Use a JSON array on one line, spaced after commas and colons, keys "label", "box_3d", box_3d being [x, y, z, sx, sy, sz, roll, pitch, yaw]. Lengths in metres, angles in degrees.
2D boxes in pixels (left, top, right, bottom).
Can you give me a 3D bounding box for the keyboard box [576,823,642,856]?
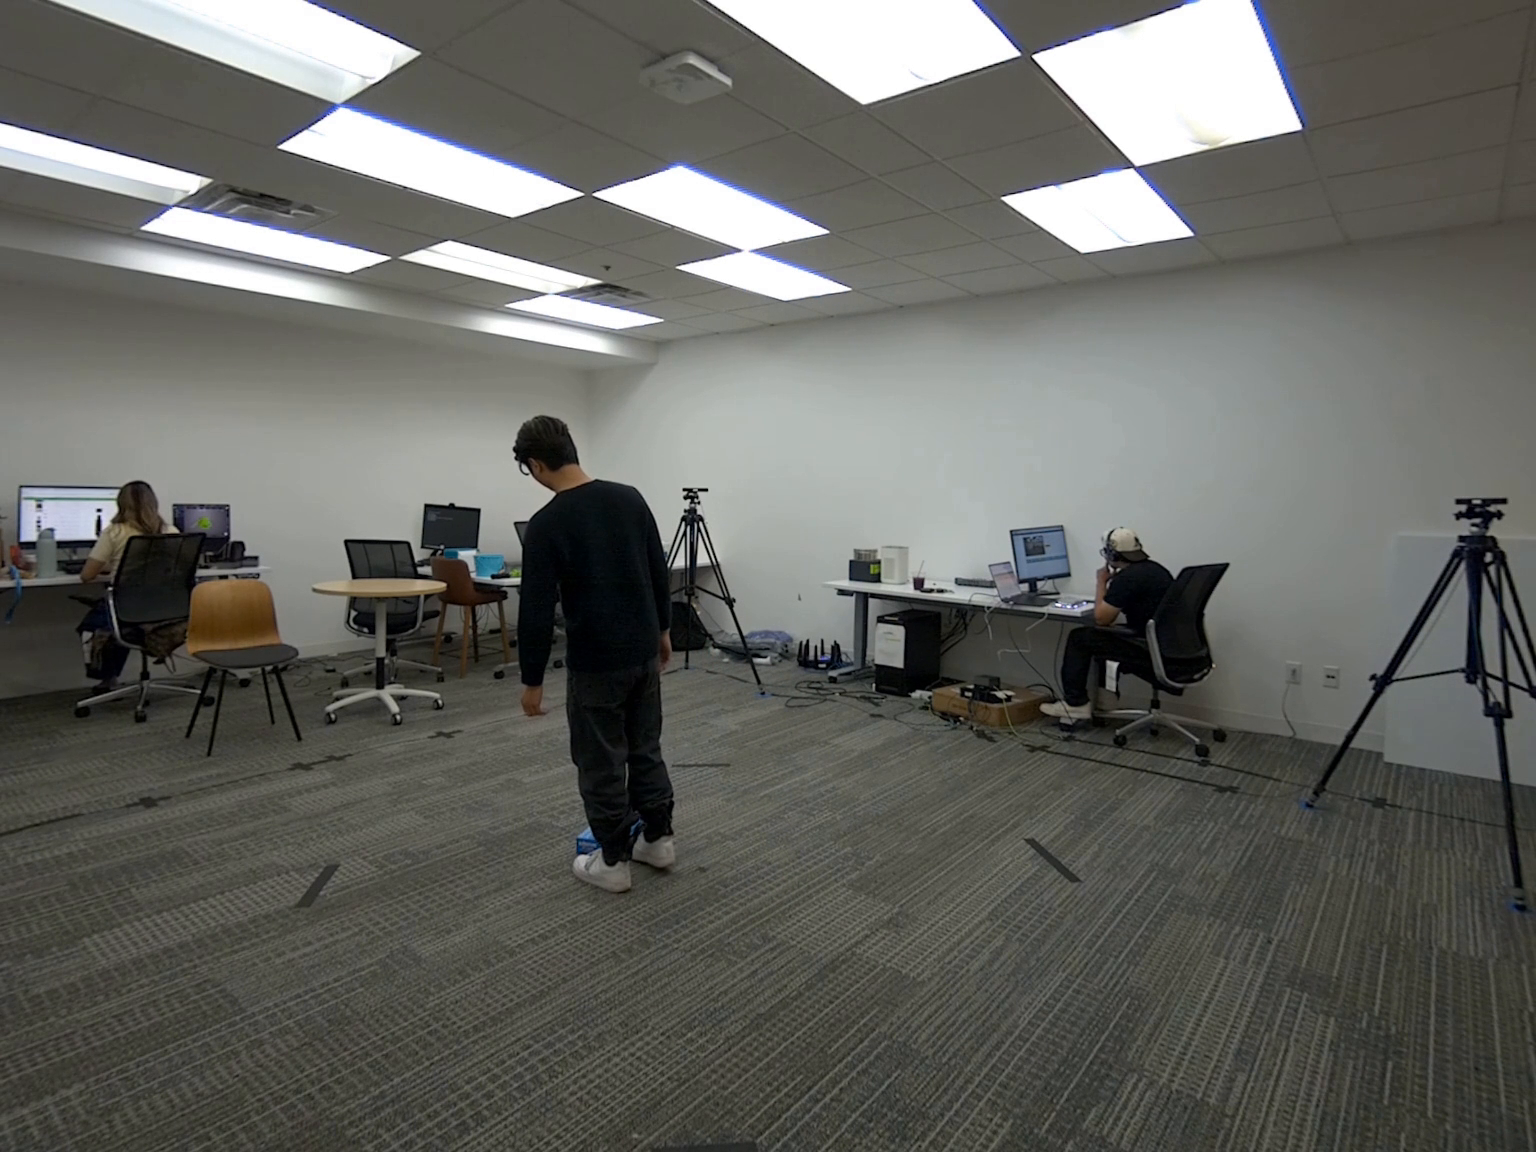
[{"label": "keyboard box", "box_3d": [-0.607, 0.997, 3.412, 0.179, 0.059, 0.431, 2, 6, 13]}]
